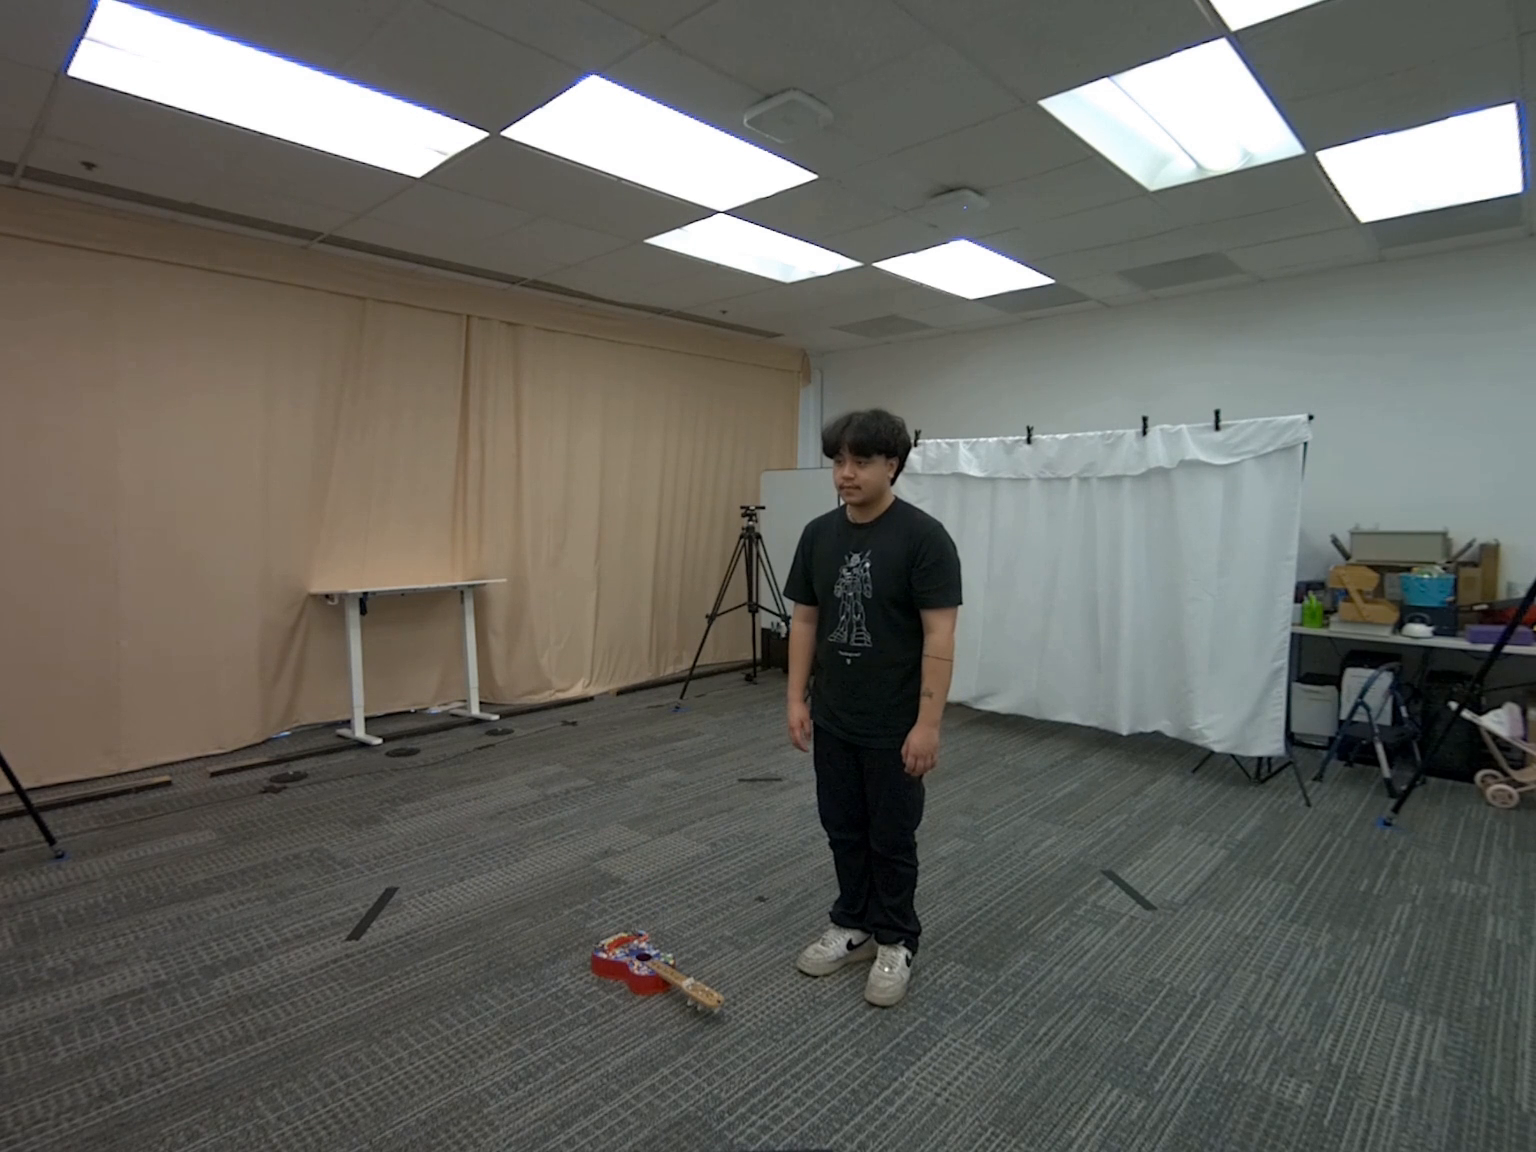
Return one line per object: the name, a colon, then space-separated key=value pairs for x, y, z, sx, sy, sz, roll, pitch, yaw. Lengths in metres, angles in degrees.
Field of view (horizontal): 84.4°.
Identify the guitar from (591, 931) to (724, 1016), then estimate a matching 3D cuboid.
guitar: x=-0.337 y=1.155 z=2.425 sx=0.187 sy=0.070 sz=0.514 roll=-4 pitch=6 yaw=-36
